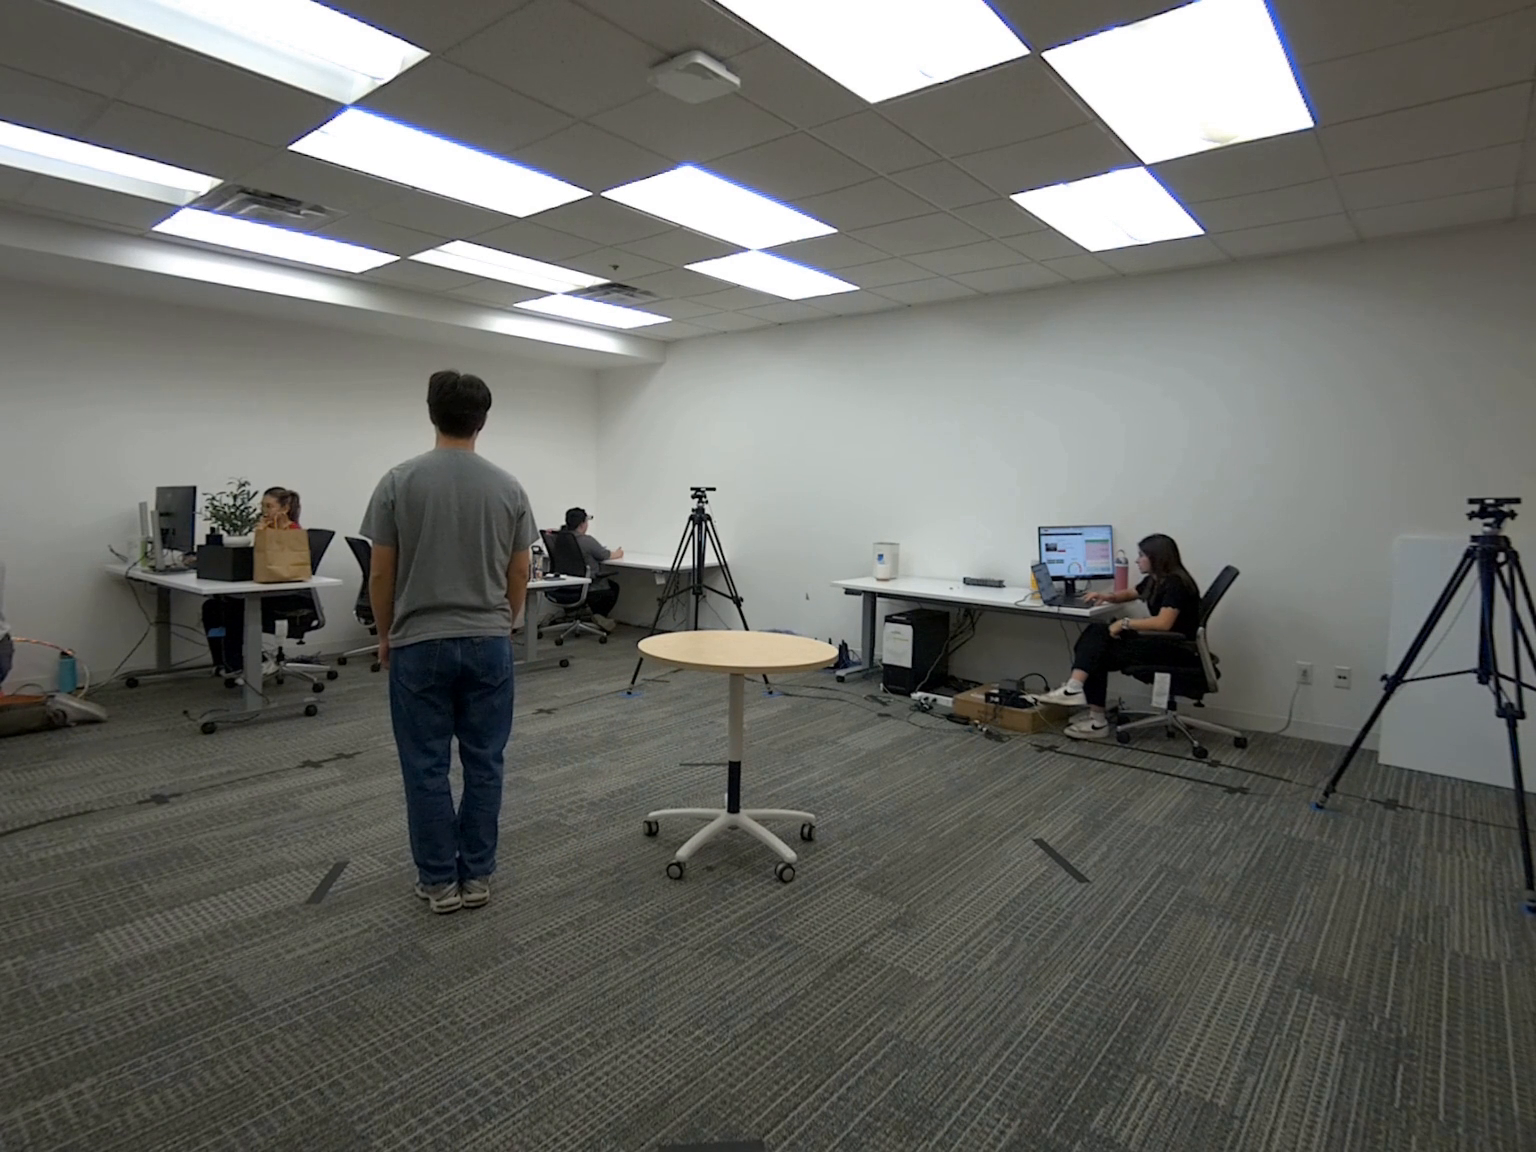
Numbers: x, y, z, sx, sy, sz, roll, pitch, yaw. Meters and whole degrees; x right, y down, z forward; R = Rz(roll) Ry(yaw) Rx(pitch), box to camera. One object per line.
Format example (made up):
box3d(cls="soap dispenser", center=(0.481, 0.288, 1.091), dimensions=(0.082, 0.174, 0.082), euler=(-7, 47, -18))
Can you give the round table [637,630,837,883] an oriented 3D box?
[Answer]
box3d(cls="round table", center=(-0.134, 0.662, 3.279), dimensions=(0.763, 0.792, 0.767), euler=(1, 4, -2))
